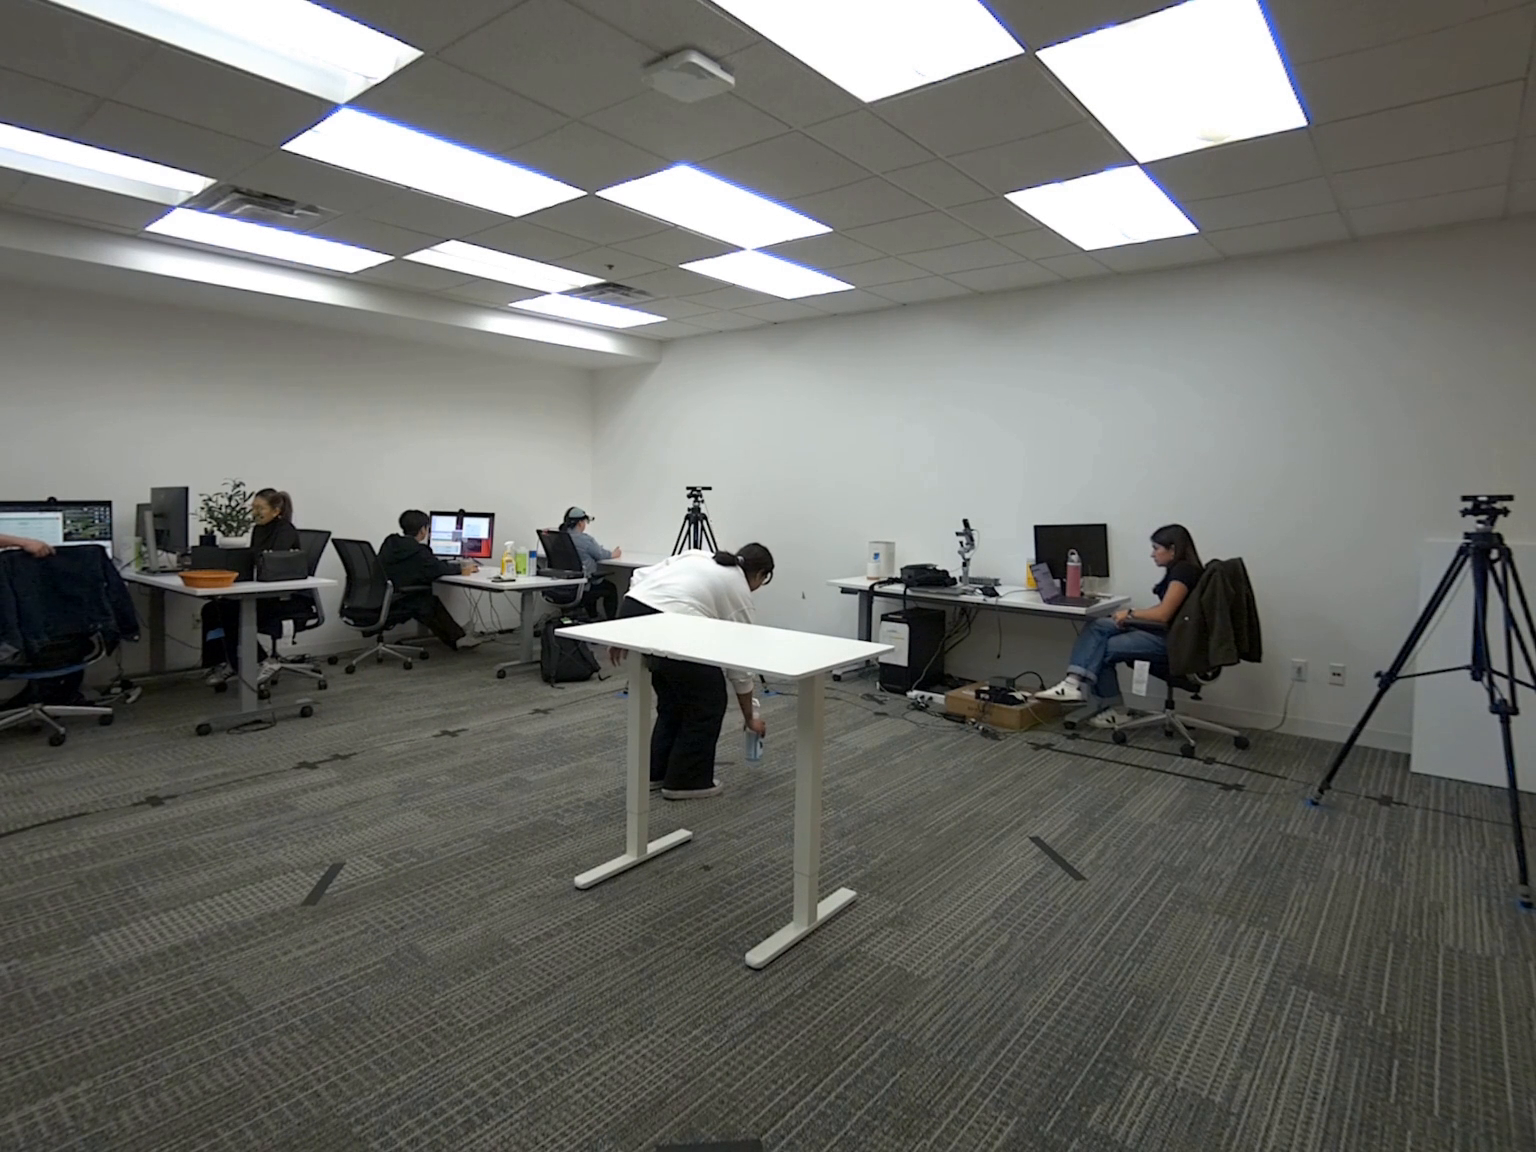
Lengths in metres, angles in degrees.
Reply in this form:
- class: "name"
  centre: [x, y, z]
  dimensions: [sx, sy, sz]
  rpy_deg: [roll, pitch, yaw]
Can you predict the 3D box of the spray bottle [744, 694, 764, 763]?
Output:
- class: "spray bottle"
  centre: [-0.067, 0.752, 4.158]
  dimensions: [0.086, 0.297, 0.091]
  rpy_deg: [2, 0, -8]
